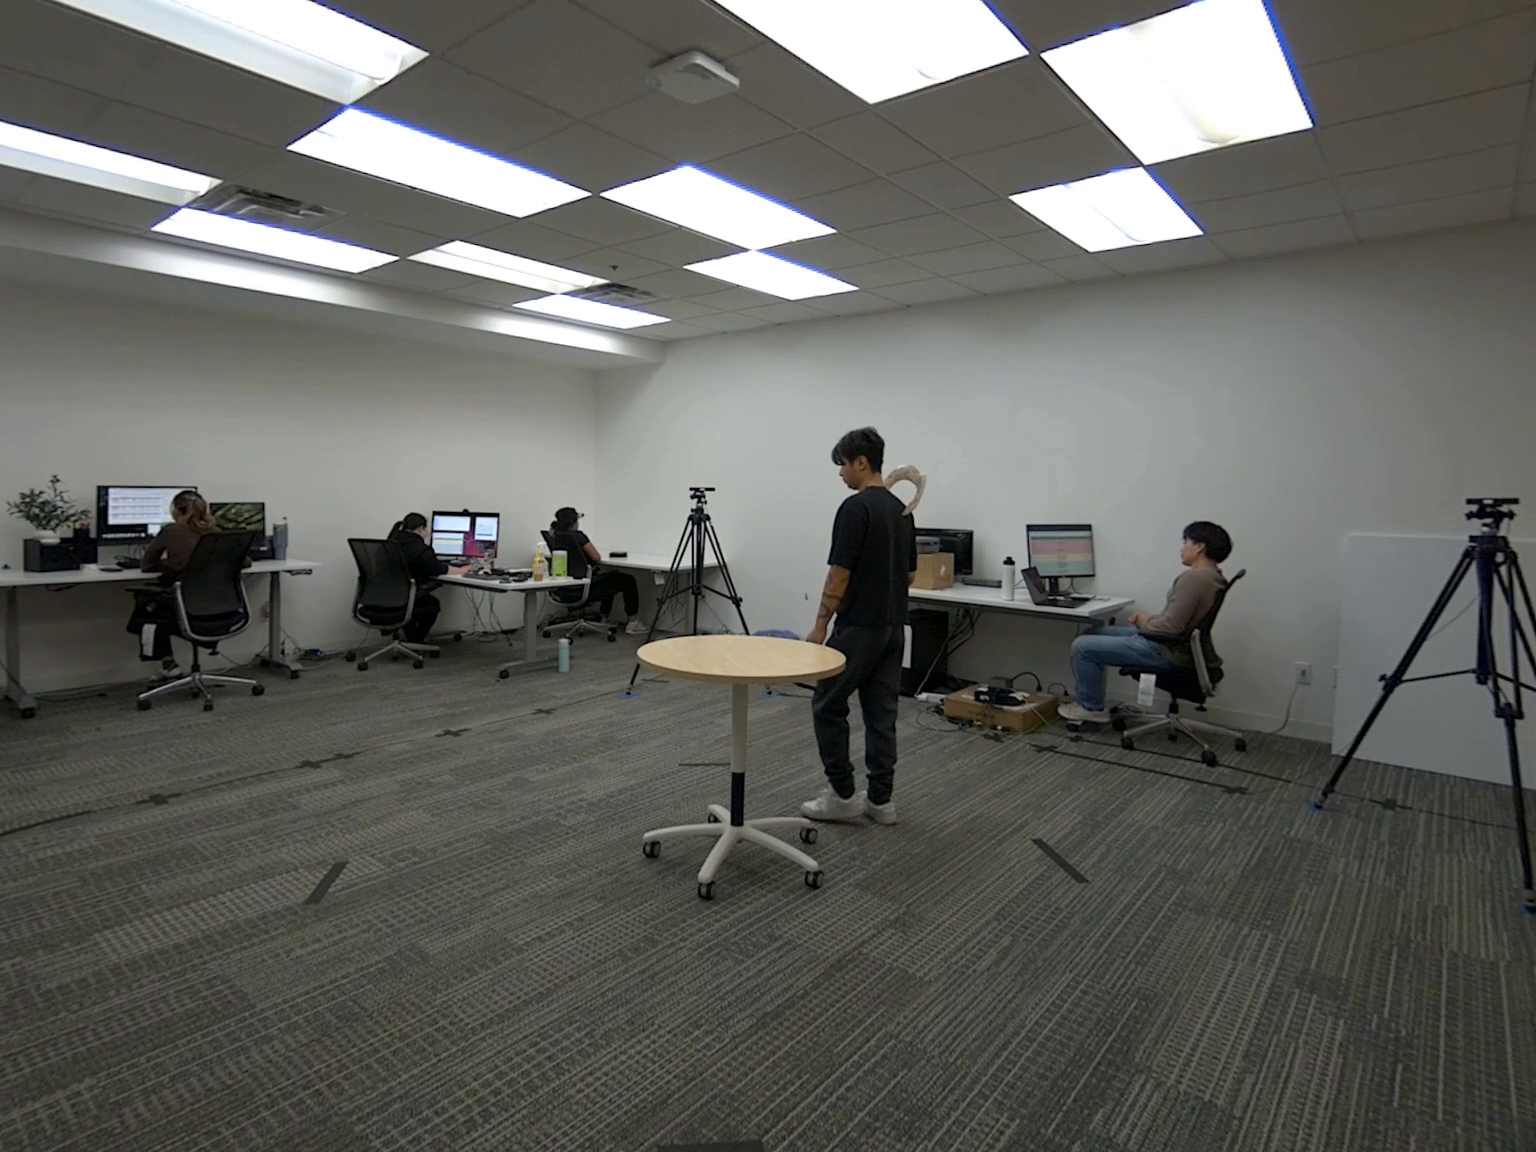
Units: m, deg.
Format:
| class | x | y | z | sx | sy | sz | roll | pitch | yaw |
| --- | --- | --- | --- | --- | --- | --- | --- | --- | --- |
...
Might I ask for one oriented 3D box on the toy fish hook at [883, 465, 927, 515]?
| class | x | y | z | sx | sy | sz | roll | pitch | yaw |
| --- | --- | --- | --- | --- | --- | --- | --- | --- | --- |
| toy fish hook | 0.481 | -0.264 | 3.682 | 0.046 | 0.506 | 0.234 | 28 | 16 | -40 |
